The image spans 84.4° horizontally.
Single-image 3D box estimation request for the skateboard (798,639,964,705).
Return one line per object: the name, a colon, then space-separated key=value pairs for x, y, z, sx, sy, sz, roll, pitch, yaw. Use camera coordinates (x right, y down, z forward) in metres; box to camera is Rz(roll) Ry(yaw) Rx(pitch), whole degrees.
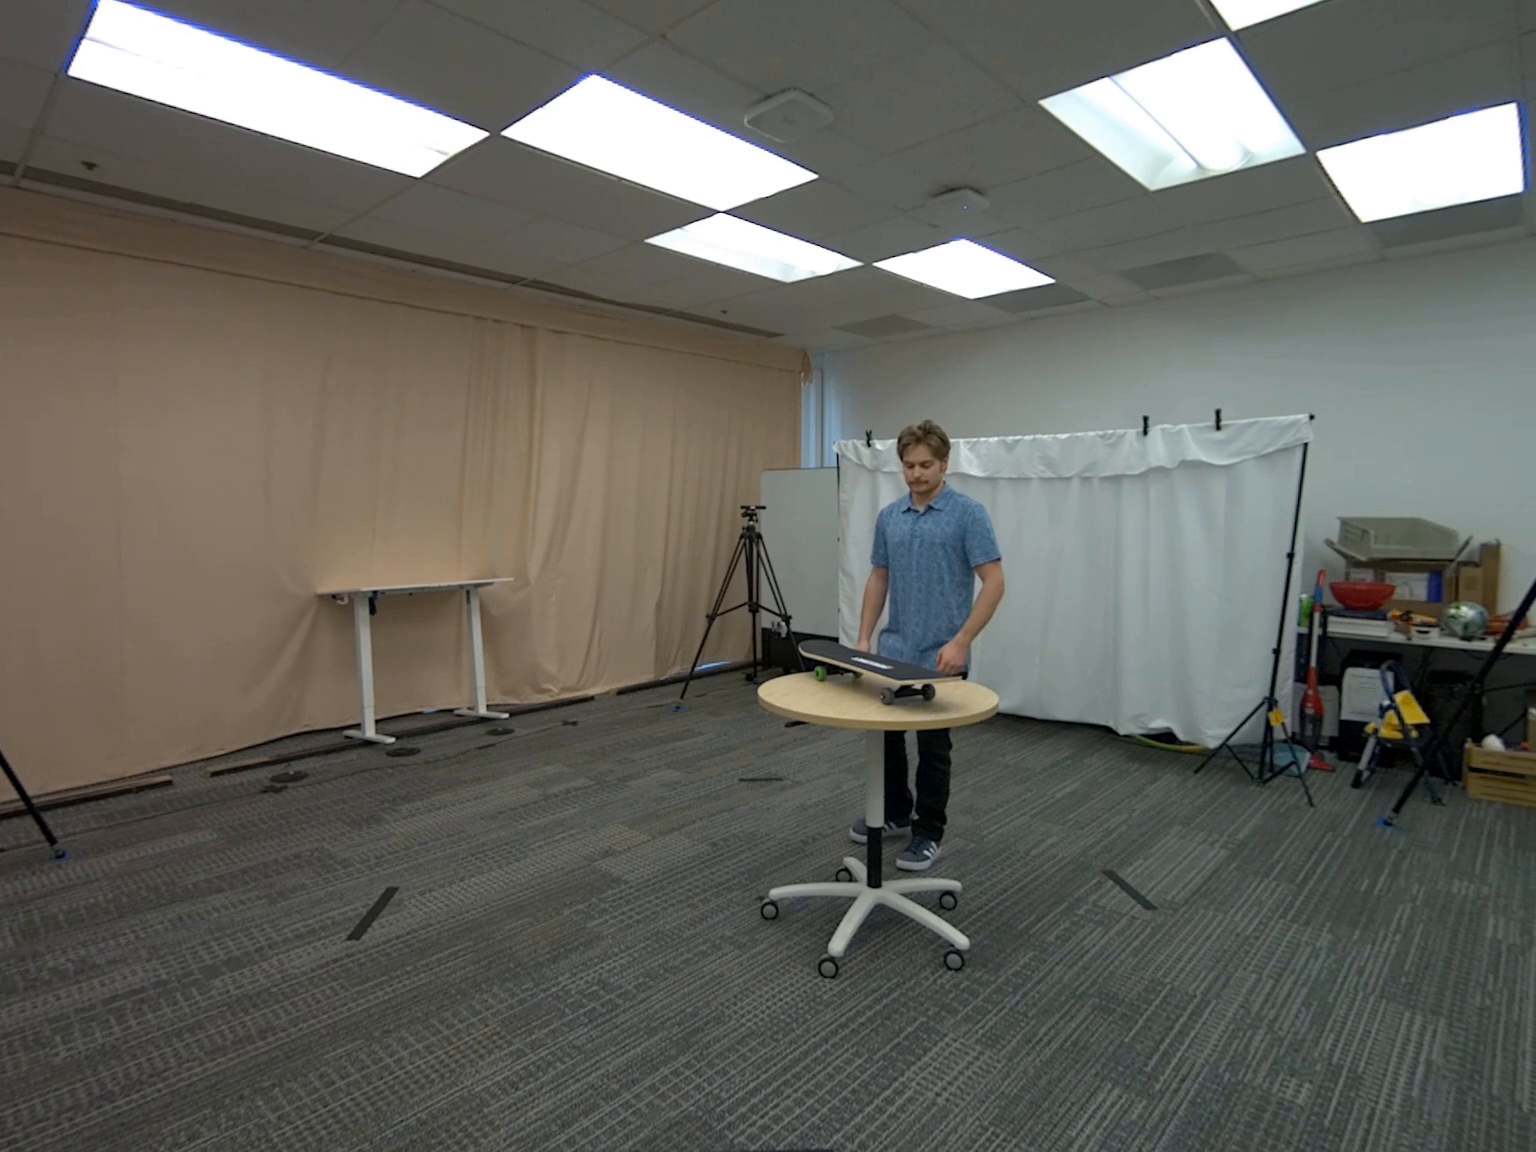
skateboard: x=0.343 y=0.325 z=2.773 sx=0.189 sy=0.110 sz=0.806 roll=-1 pitch=5 yaw=-26
